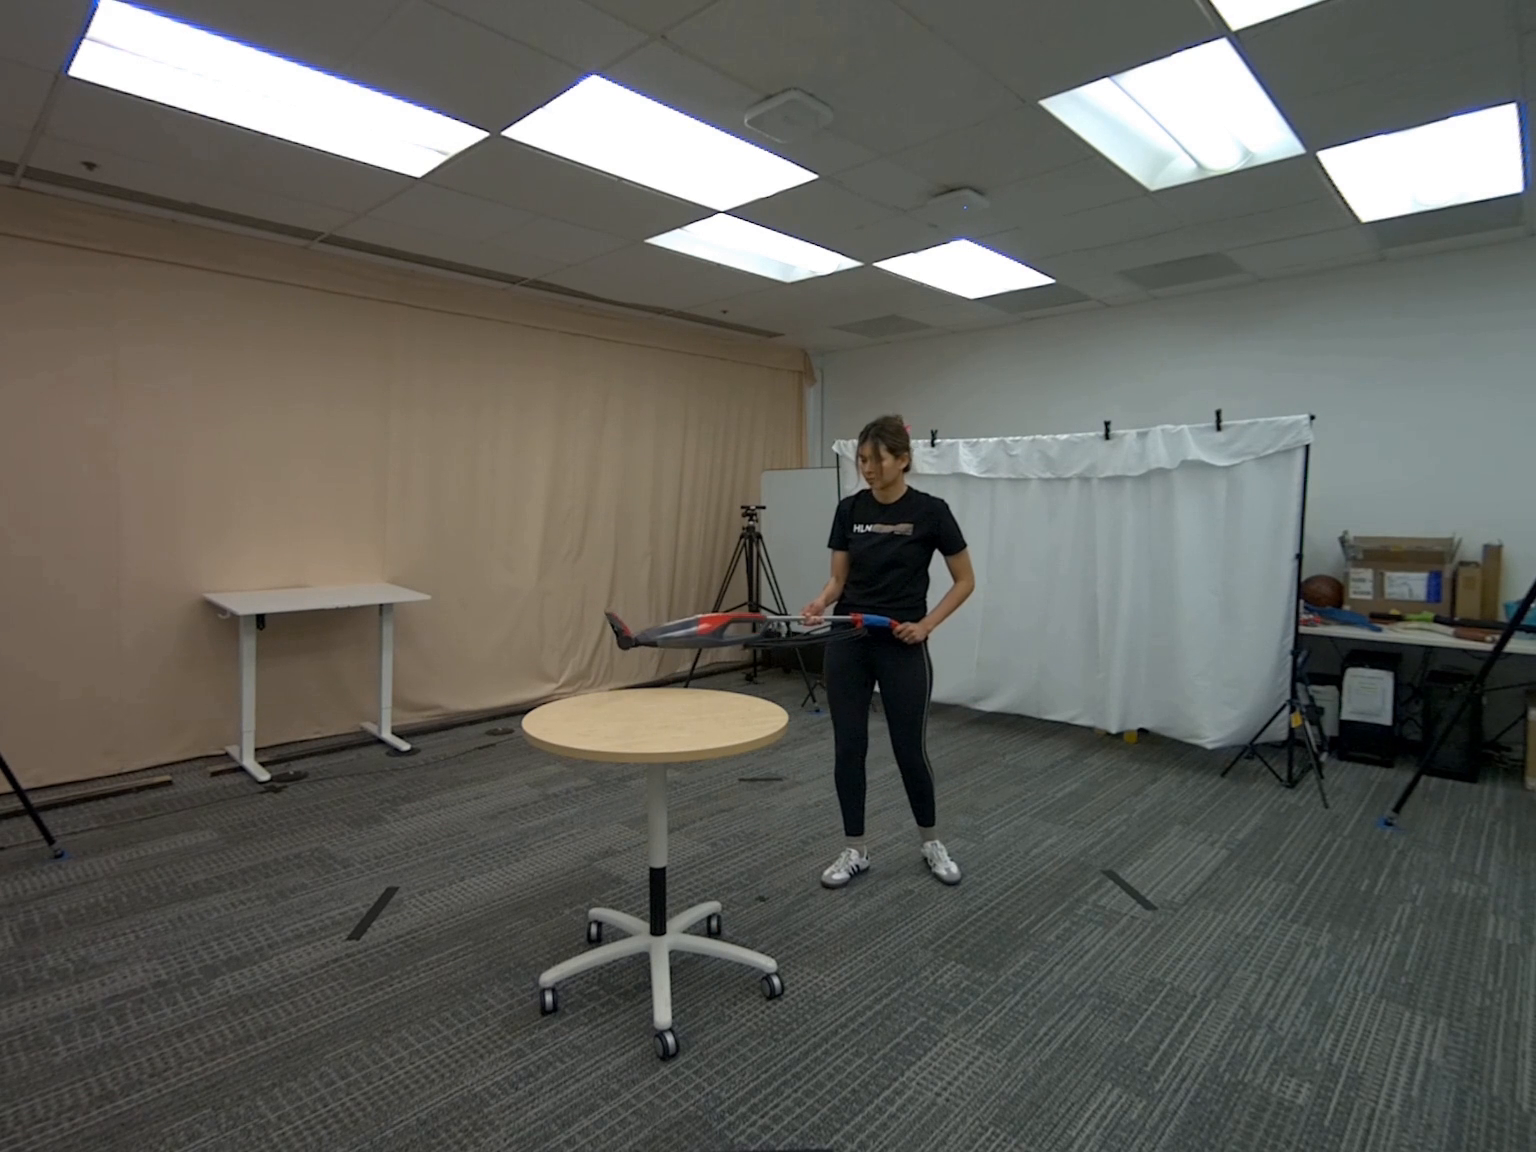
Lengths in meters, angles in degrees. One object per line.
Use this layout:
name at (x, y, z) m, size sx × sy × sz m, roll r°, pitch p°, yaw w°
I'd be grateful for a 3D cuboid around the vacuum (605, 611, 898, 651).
vacuum at (-0.016, 0.201, 2.902) m, size 1.039 × 0.144 × 0.255 m, roll 1°, pitch 2°, yaw -9°
